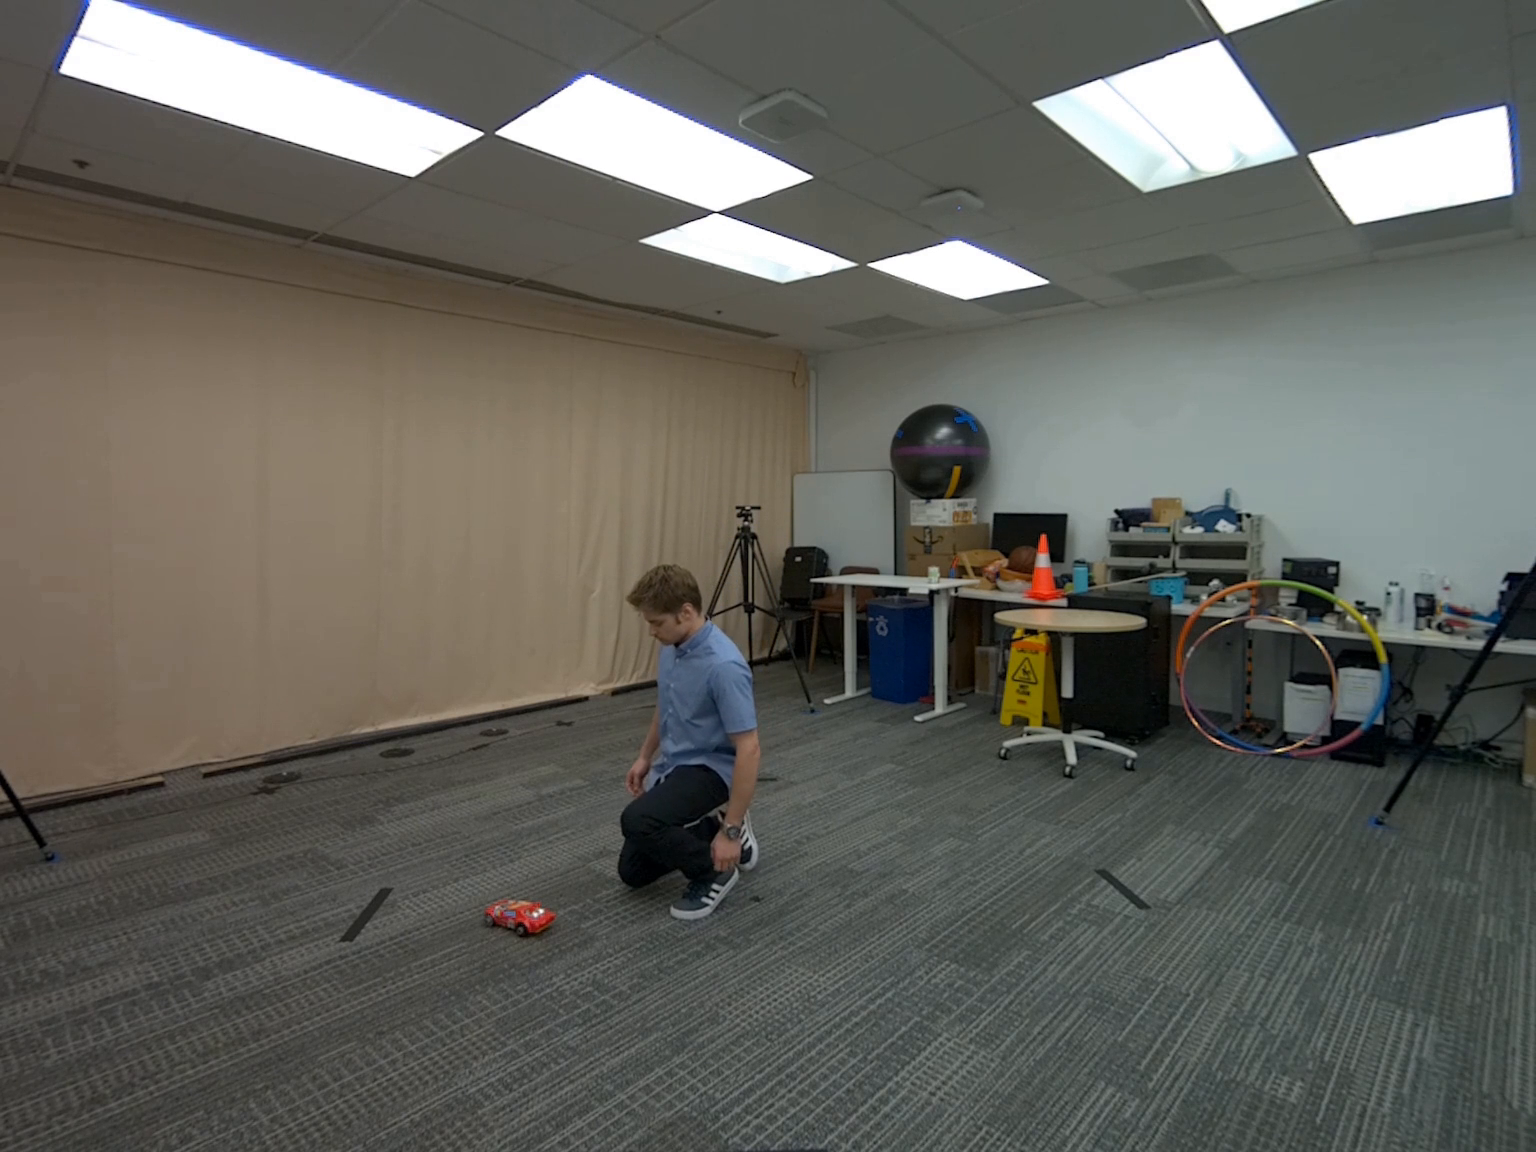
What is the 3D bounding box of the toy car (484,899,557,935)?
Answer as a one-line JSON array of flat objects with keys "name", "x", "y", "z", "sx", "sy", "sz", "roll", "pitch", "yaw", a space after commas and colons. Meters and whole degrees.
[{"name": "toy car", "x": -0.820, "y": 1.139, "z": 2.793, "sx": 0.260, "sy": 0.083, "sz": 0.127, "roll": -12, "pitch": -1, "yaw": 28}]
